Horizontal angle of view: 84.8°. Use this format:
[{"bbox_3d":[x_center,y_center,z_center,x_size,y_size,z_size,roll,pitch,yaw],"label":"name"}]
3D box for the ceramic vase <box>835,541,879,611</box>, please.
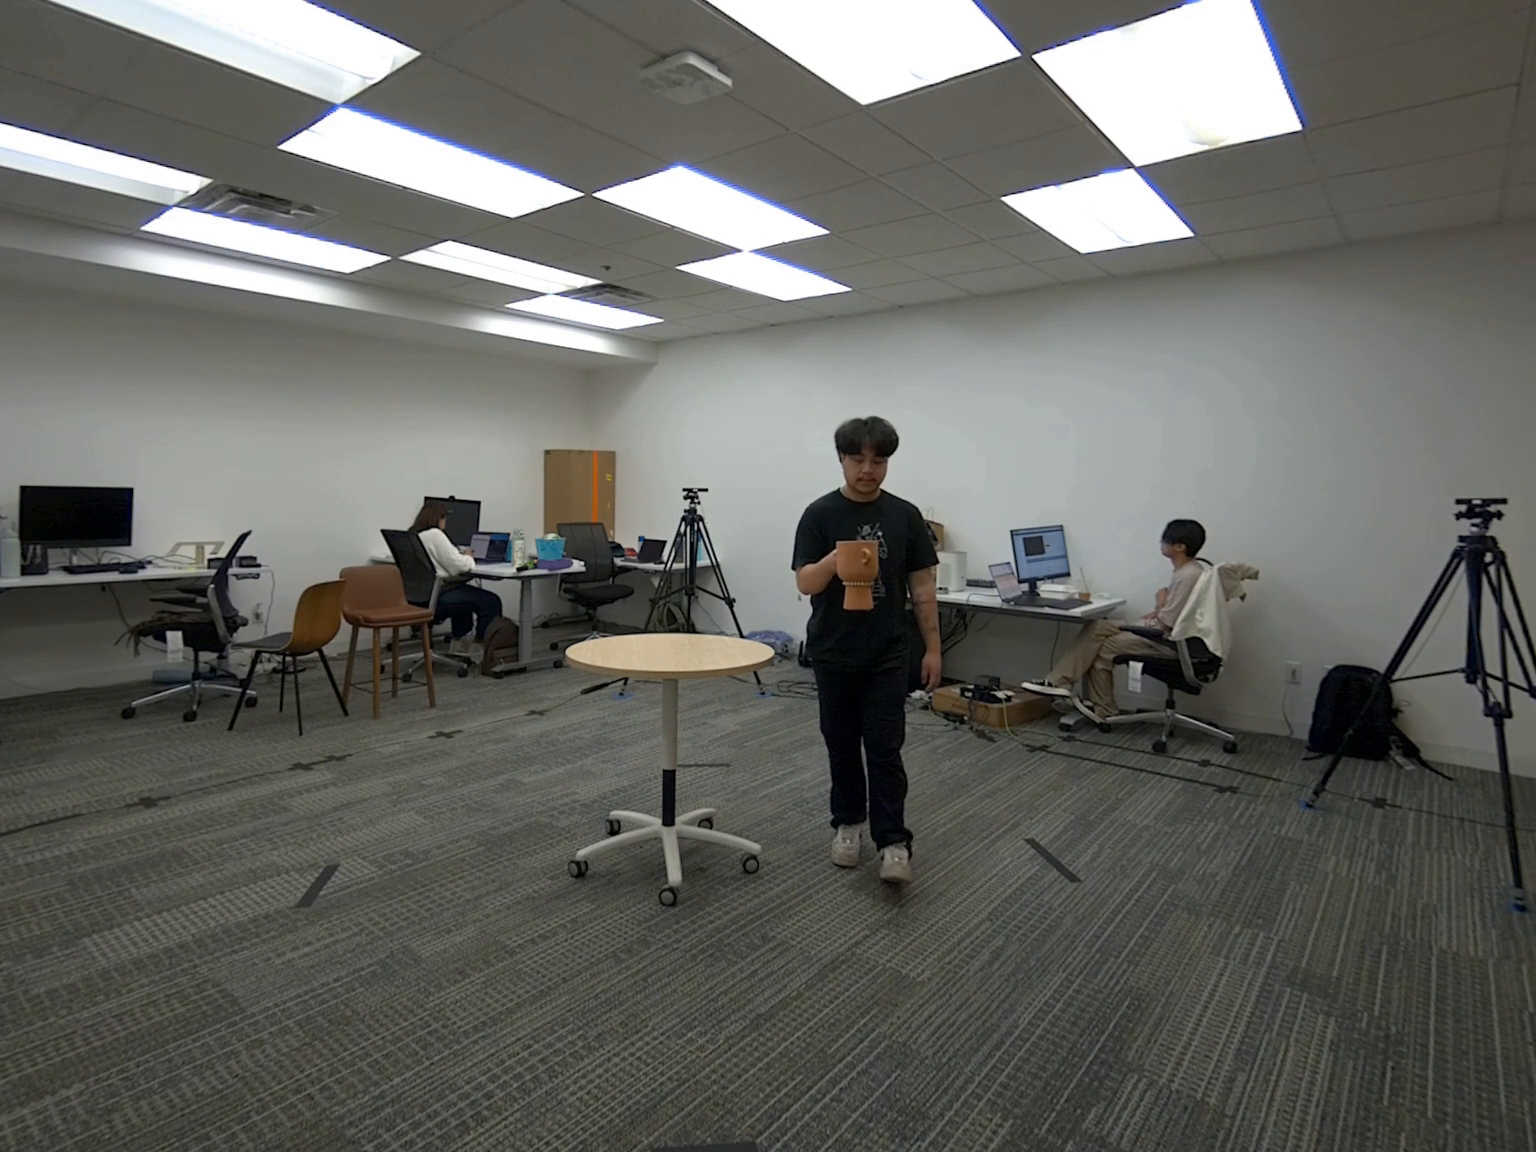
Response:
[{"bbox_3d":[0.284,-0.009,2.775,0.138,0.219,0.155,-1,2,24],"label":"ceramic vase"}]
